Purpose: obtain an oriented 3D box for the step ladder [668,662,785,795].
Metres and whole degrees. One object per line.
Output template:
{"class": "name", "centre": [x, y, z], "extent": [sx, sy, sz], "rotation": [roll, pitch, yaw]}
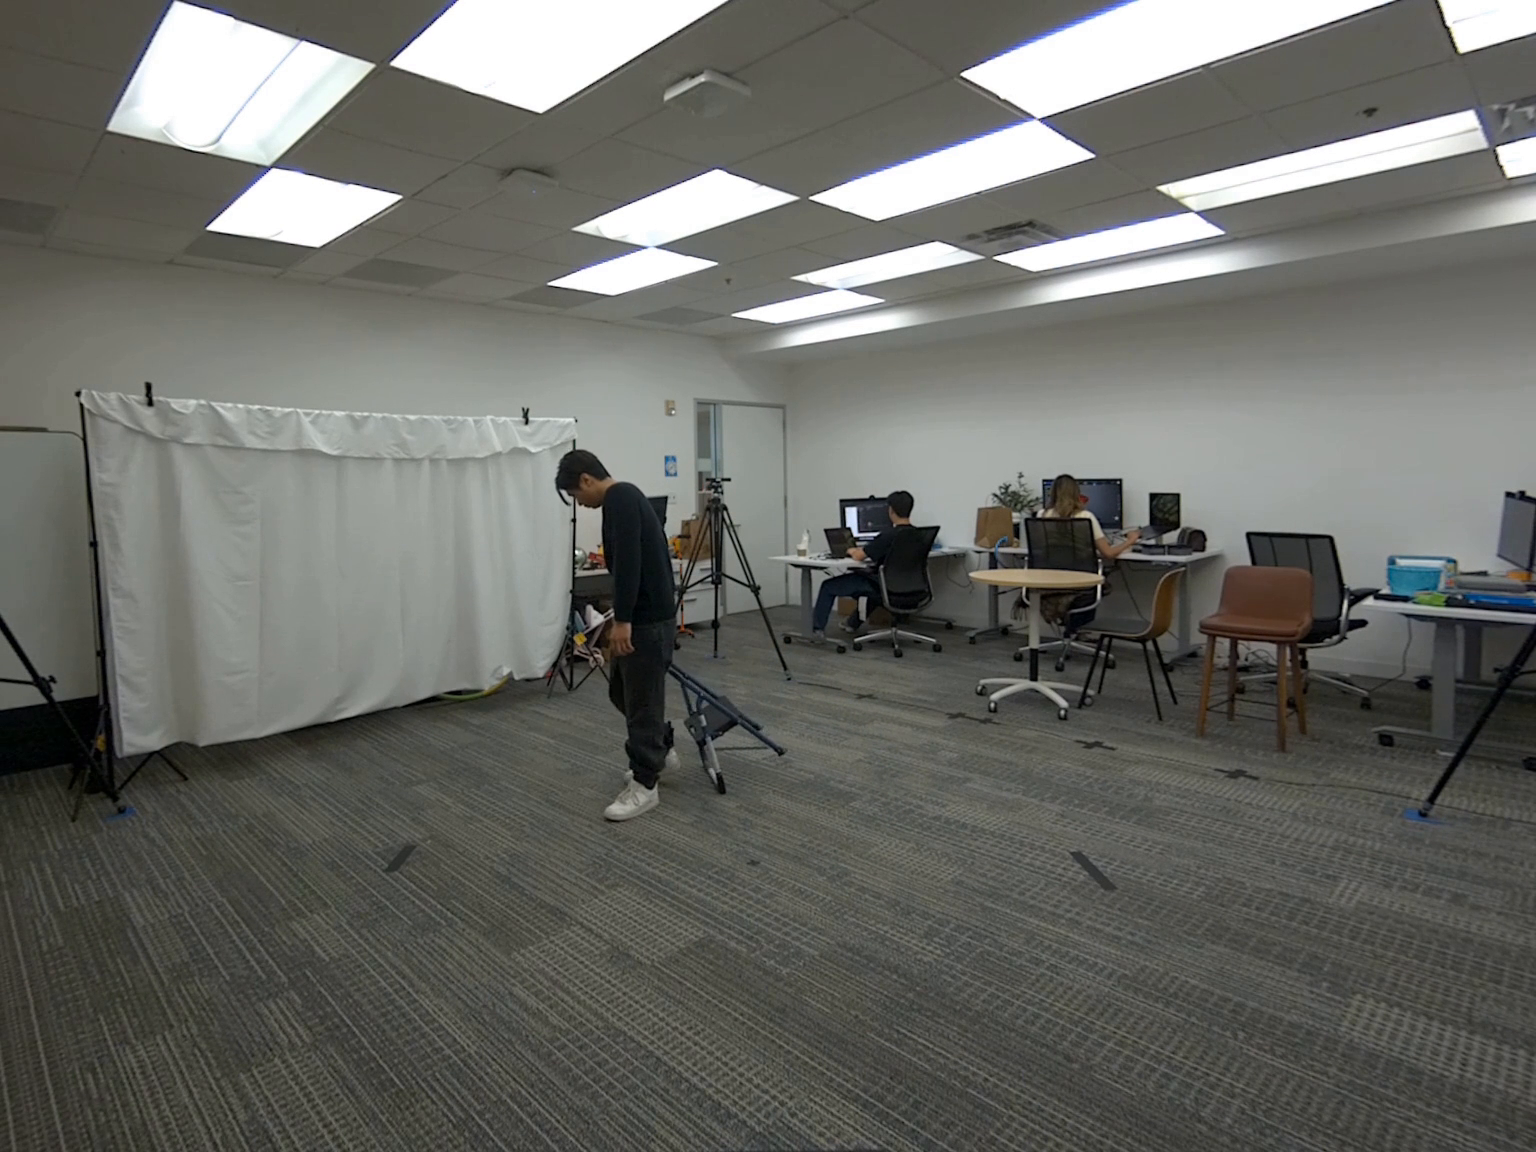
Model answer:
{"class": "step ladder", "centre": [-0.261, 0.611, 3.972], "extent": [0.348, 0.599, 0.437], "rotation": [-32, 9, -10]}
